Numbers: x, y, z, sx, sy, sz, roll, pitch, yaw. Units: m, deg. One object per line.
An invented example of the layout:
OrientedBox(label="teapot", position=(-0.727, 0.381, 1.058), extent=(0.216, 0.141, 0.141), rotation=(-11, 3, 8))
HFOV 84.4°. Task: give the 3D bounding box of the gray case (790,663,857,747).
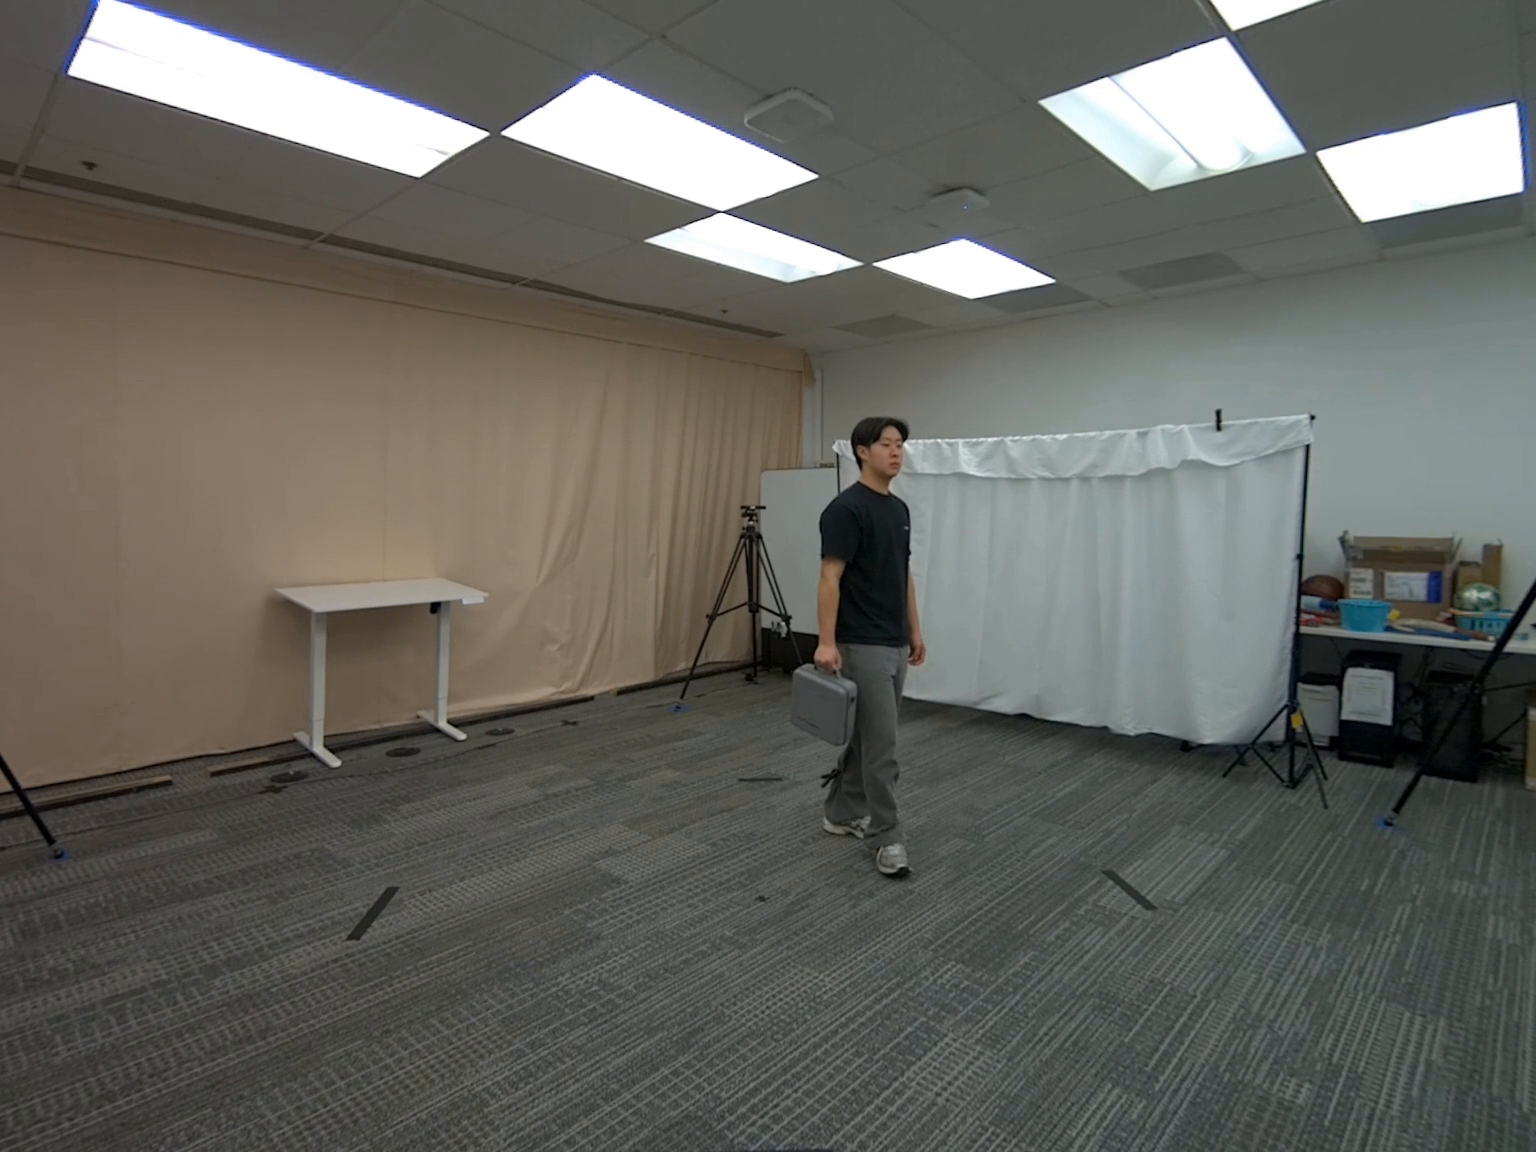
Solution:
OrientedBox(label="gray case", position=(0.222, 0.483, 3.249), extent=(0.273, 0.284, 0.100), rotation=(19, 26, 41))
